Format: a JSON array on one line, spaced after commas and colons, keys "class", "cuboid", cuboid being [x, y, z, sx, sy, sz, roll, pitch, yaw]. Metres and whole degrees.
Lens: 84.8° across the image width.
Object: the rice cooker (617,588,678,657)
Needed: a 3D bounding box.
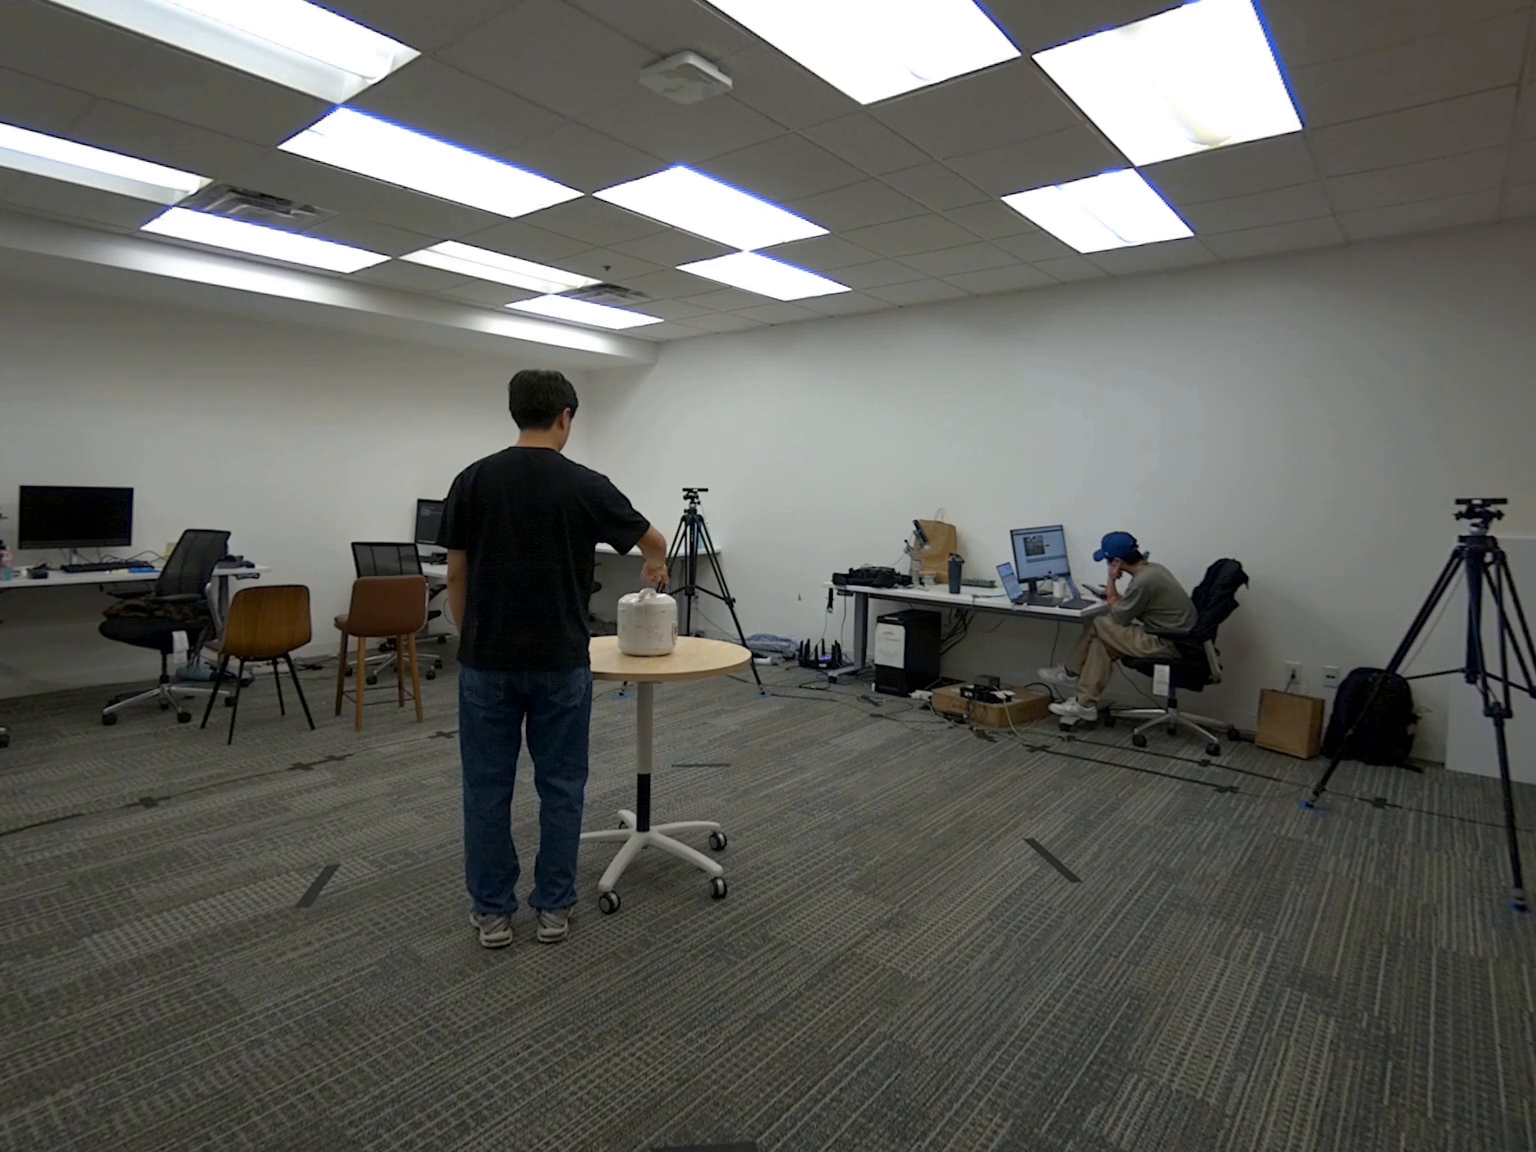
[{"class": "rice cooker", "cuboid": [-0.443, 0.156, 3.065, 0.220, 0.232, 0.218, 1, 4, 11]}]
